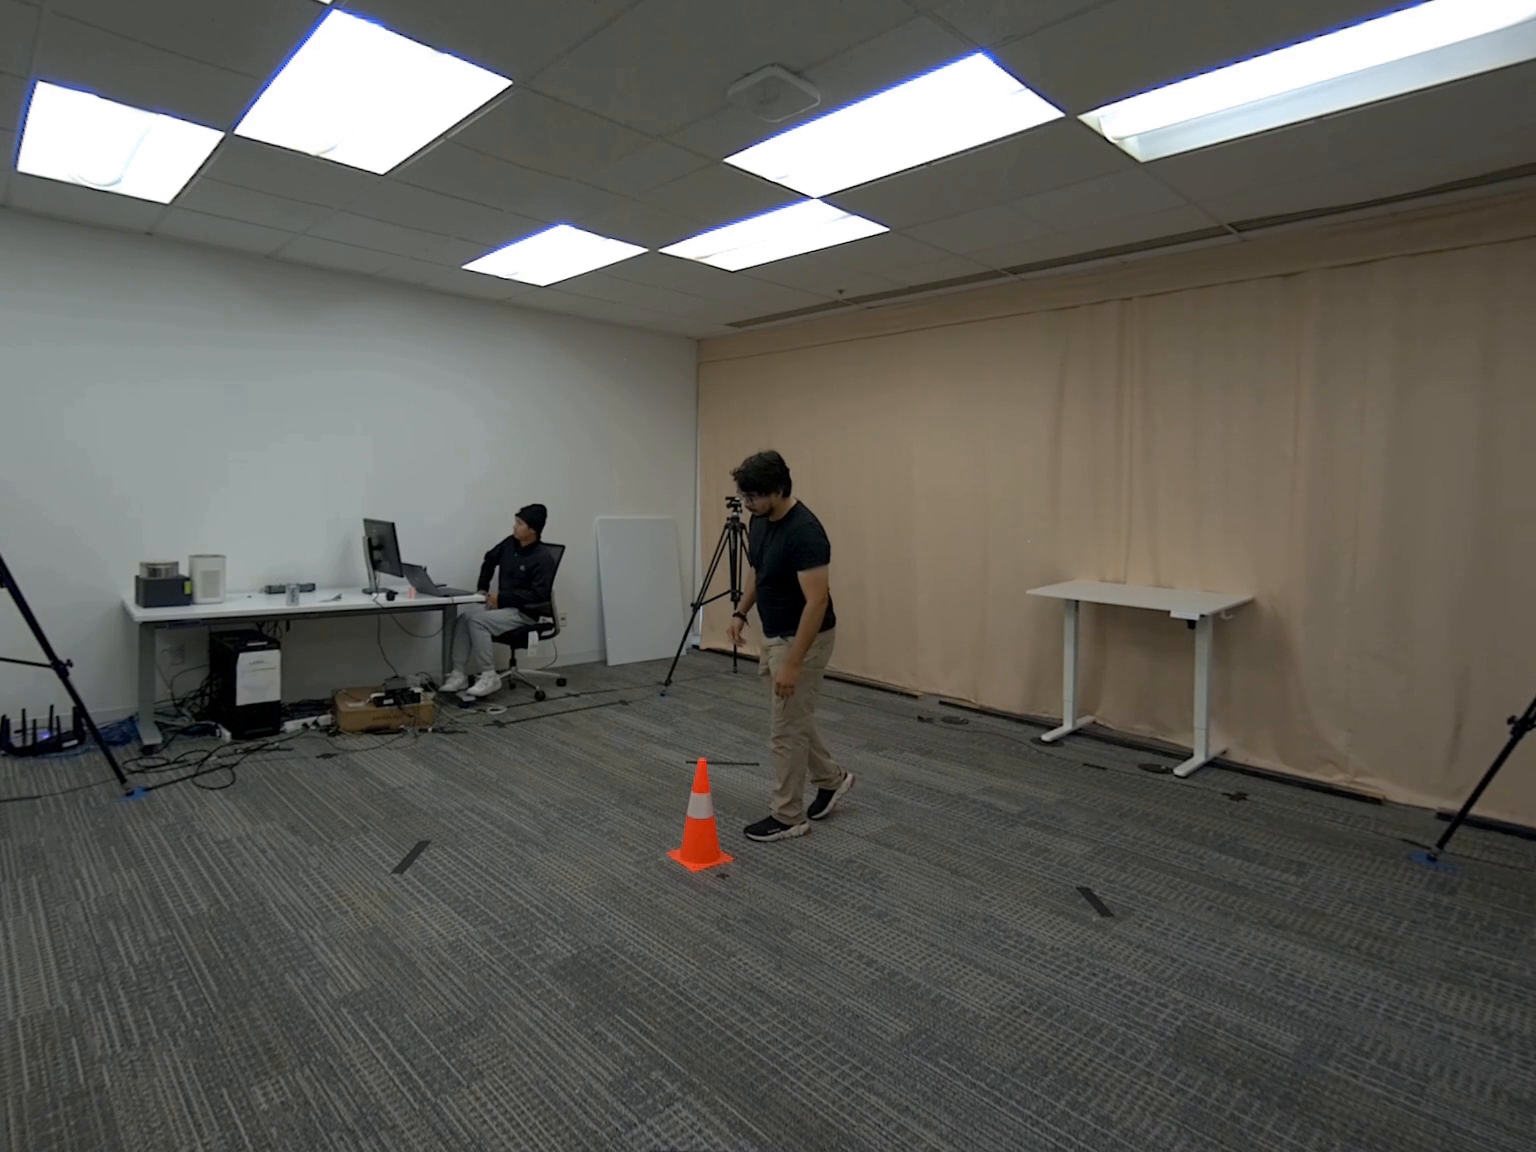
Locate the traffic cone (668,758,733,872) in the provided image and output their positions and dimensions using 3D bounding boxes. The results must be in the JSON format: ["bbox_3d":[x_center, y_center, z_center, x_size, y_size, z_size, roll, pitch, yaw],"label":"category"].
[{"bbox_3d":[-0.266,0.904,3.261,0.200,0.383,0.208,0,3,-35],"label":"traffic cone"}]
